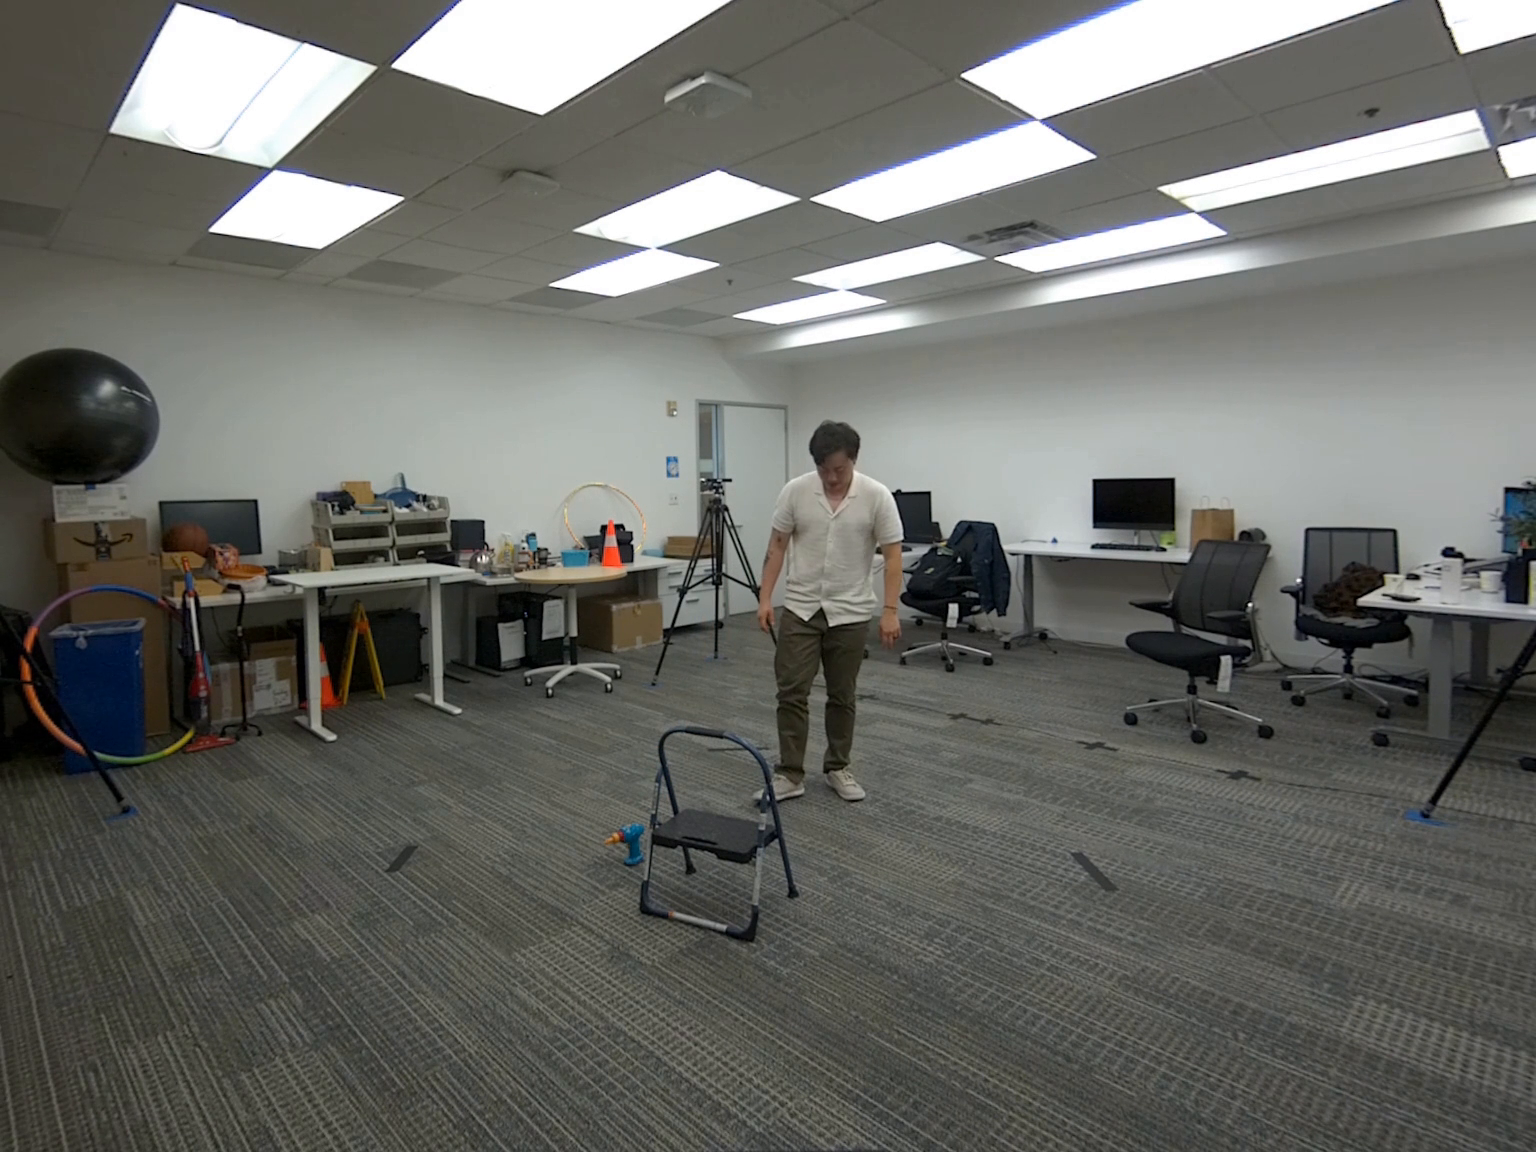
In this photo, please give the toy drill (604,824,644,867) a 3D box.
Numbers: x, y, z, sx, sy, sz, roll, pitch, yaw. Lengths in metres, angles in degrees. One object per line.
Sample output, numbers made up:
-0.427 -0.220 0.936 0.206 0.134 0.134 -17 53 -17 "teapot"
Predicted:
-0.515 0.980 3.102 0.165 0.145 0.063 -8 8 -41 "toy drill"
